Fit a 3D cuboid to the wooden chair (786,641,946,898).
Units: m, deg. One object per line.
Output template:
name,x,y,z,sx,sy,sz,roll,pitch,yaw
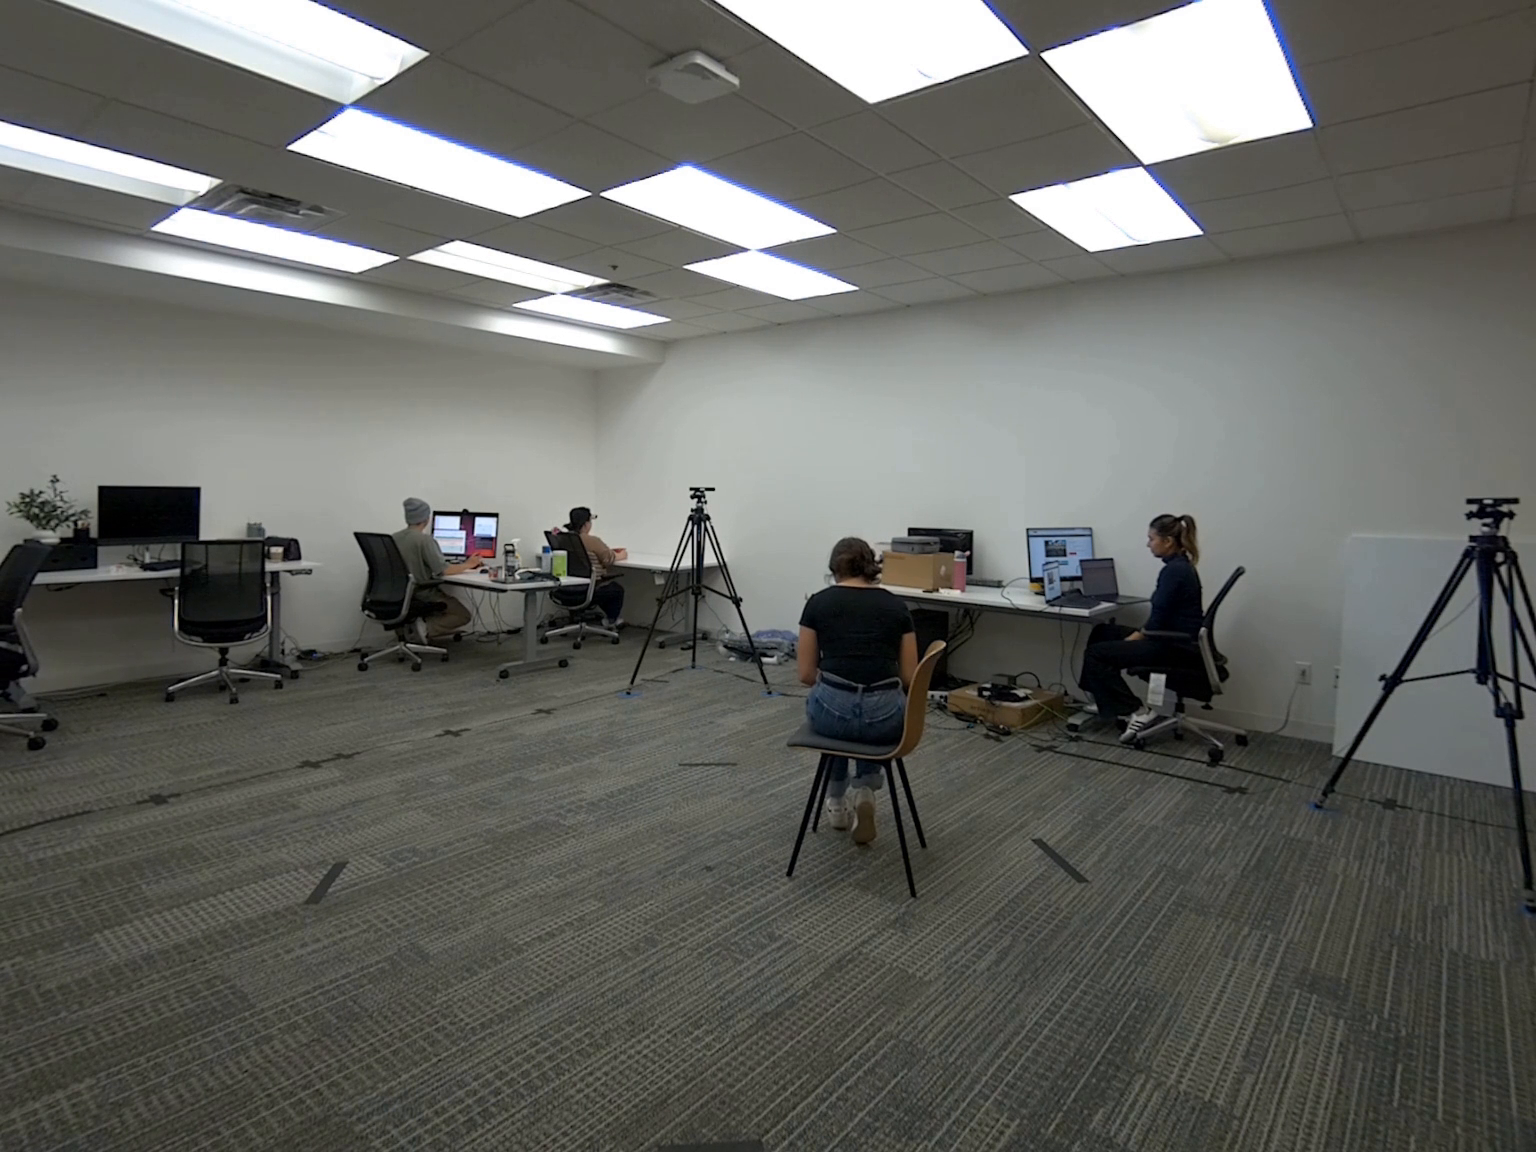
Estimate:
wooden chair,0.339,0.650,3.172,0.534,0.875,0.470,6,3,16
